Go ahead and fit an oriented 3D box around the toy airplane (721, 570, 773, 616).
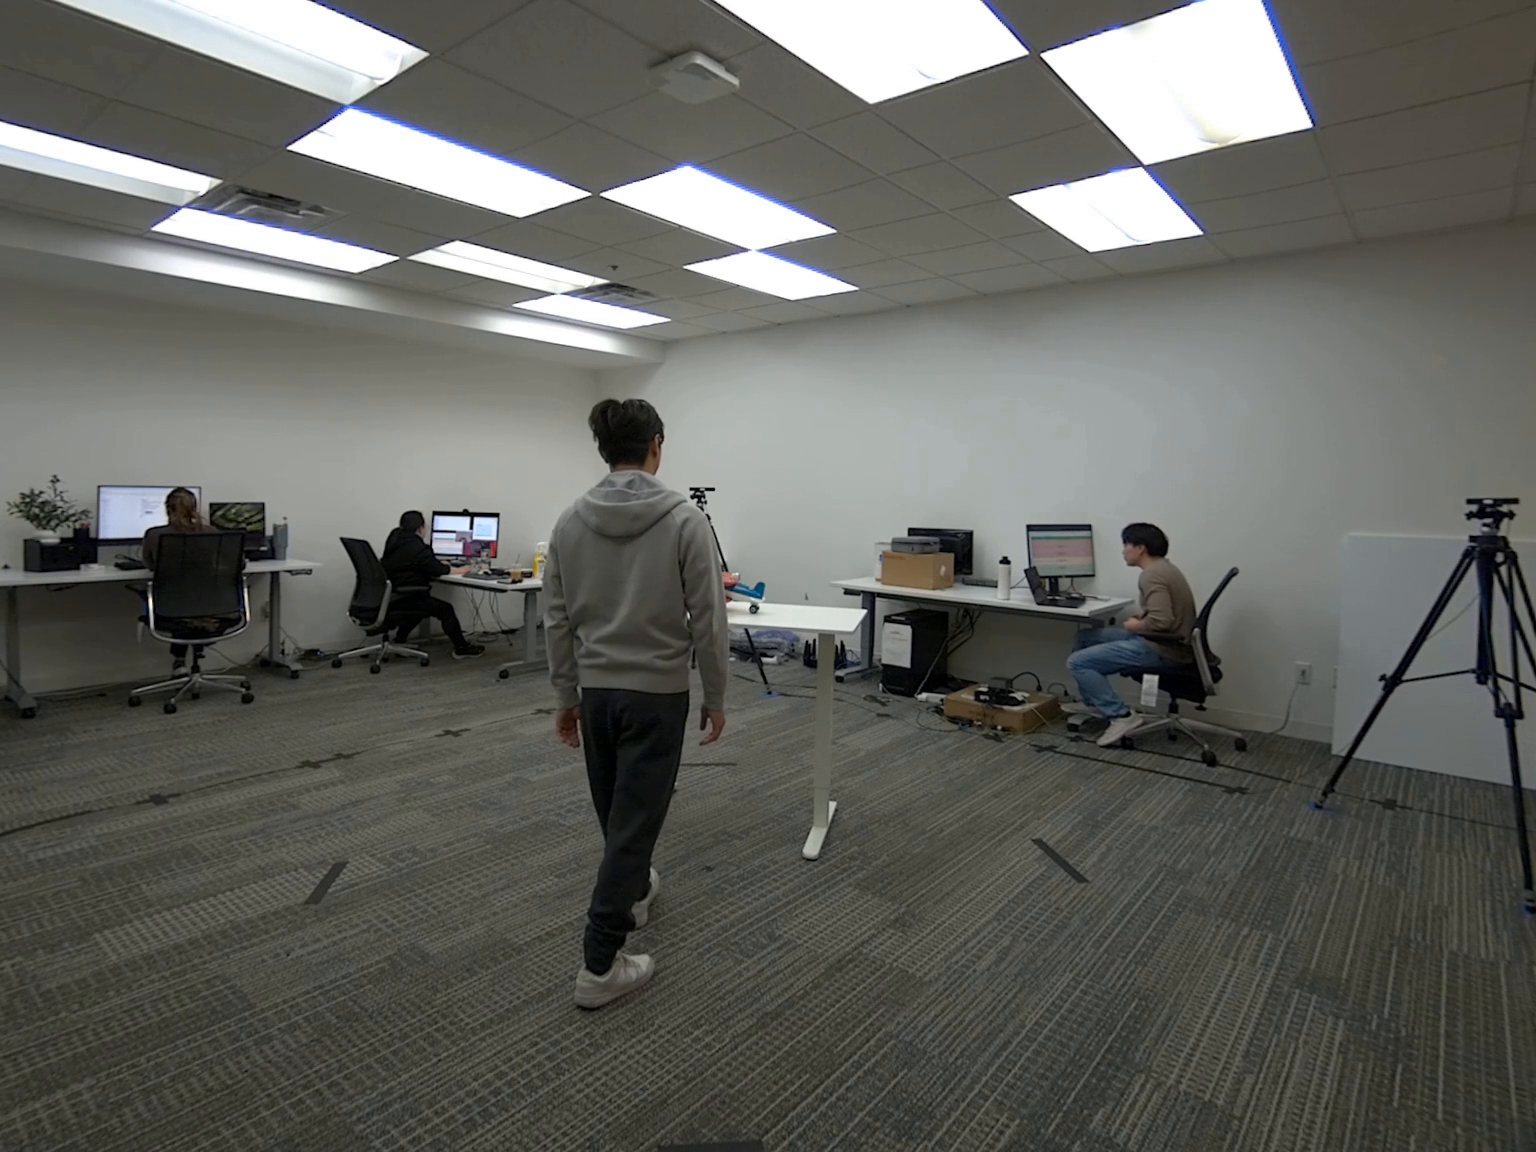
[{"bbox_3d":[-0.146,0.067,3.546,0.255,0.156,0.256,0,5,-15],"label":"toy airplane"}]
